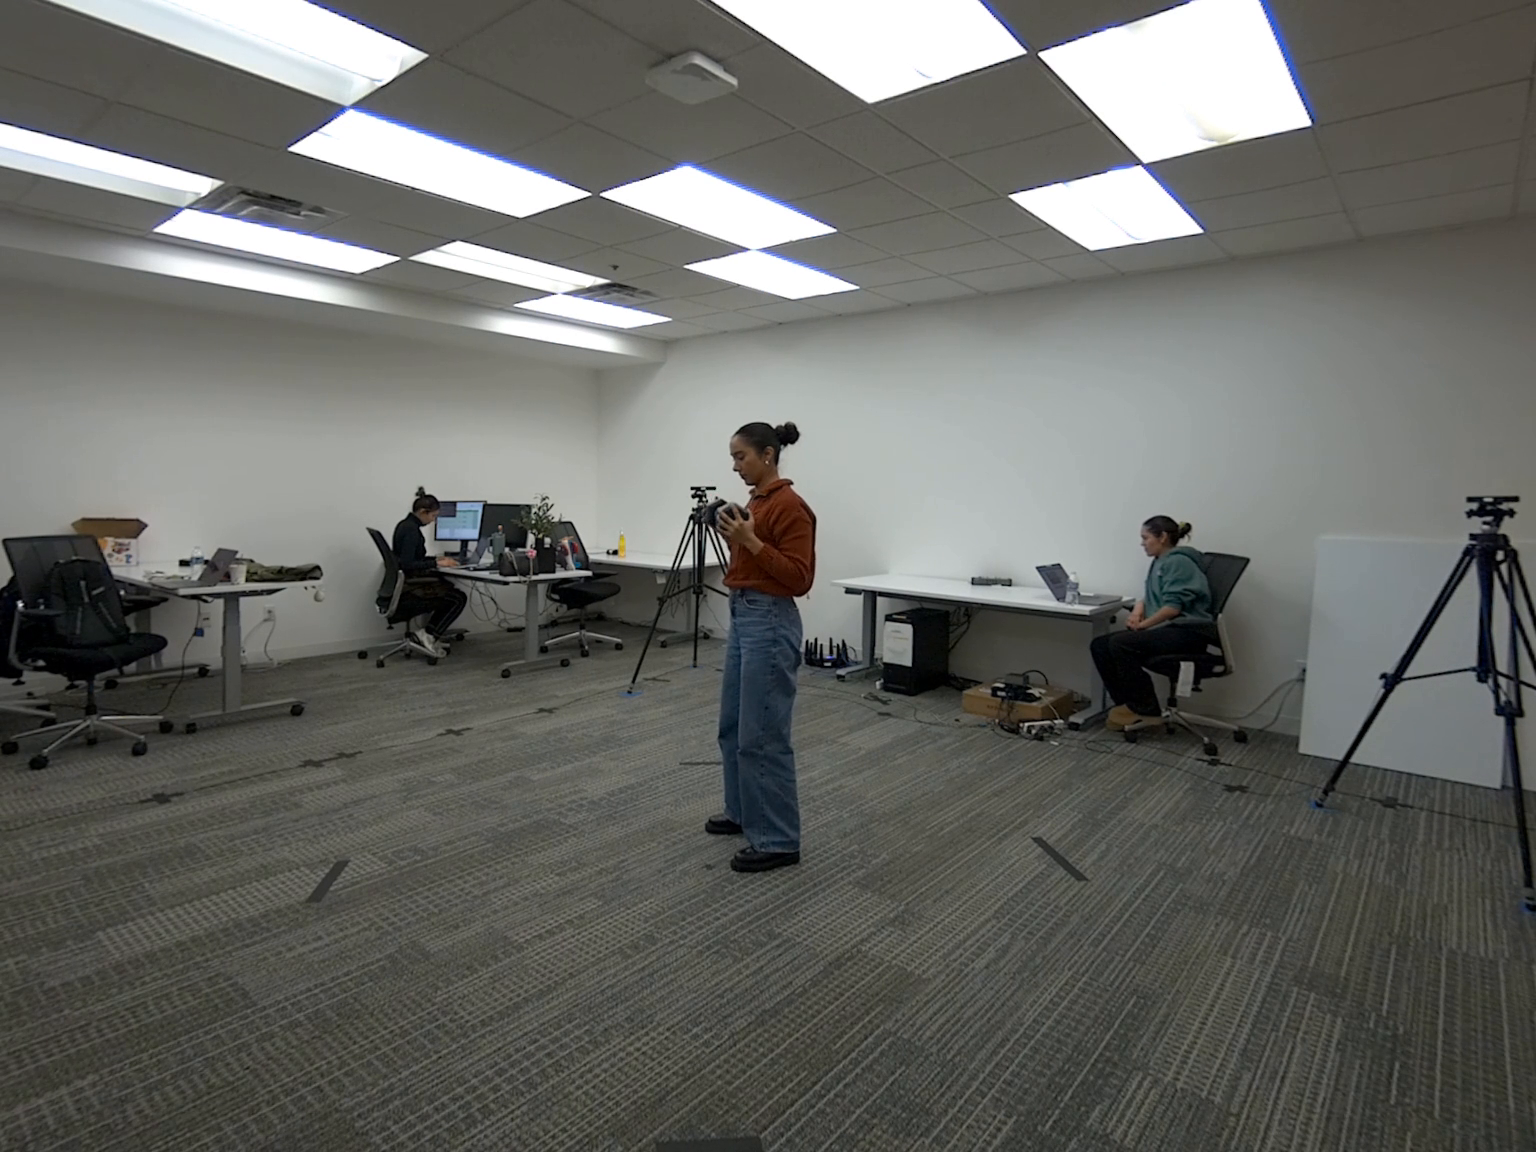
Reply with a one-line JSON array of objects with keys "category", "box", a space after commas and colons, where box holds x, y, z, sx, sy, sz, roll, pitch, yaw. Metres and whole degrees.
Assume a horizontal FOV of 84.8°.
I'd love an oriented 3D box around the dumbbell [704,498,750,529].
[{"category": "dumbbell", "box": [-0.176, -0.218, 3.246, 0.108, 0.122, 0.296, 4, 5, -8]}]
